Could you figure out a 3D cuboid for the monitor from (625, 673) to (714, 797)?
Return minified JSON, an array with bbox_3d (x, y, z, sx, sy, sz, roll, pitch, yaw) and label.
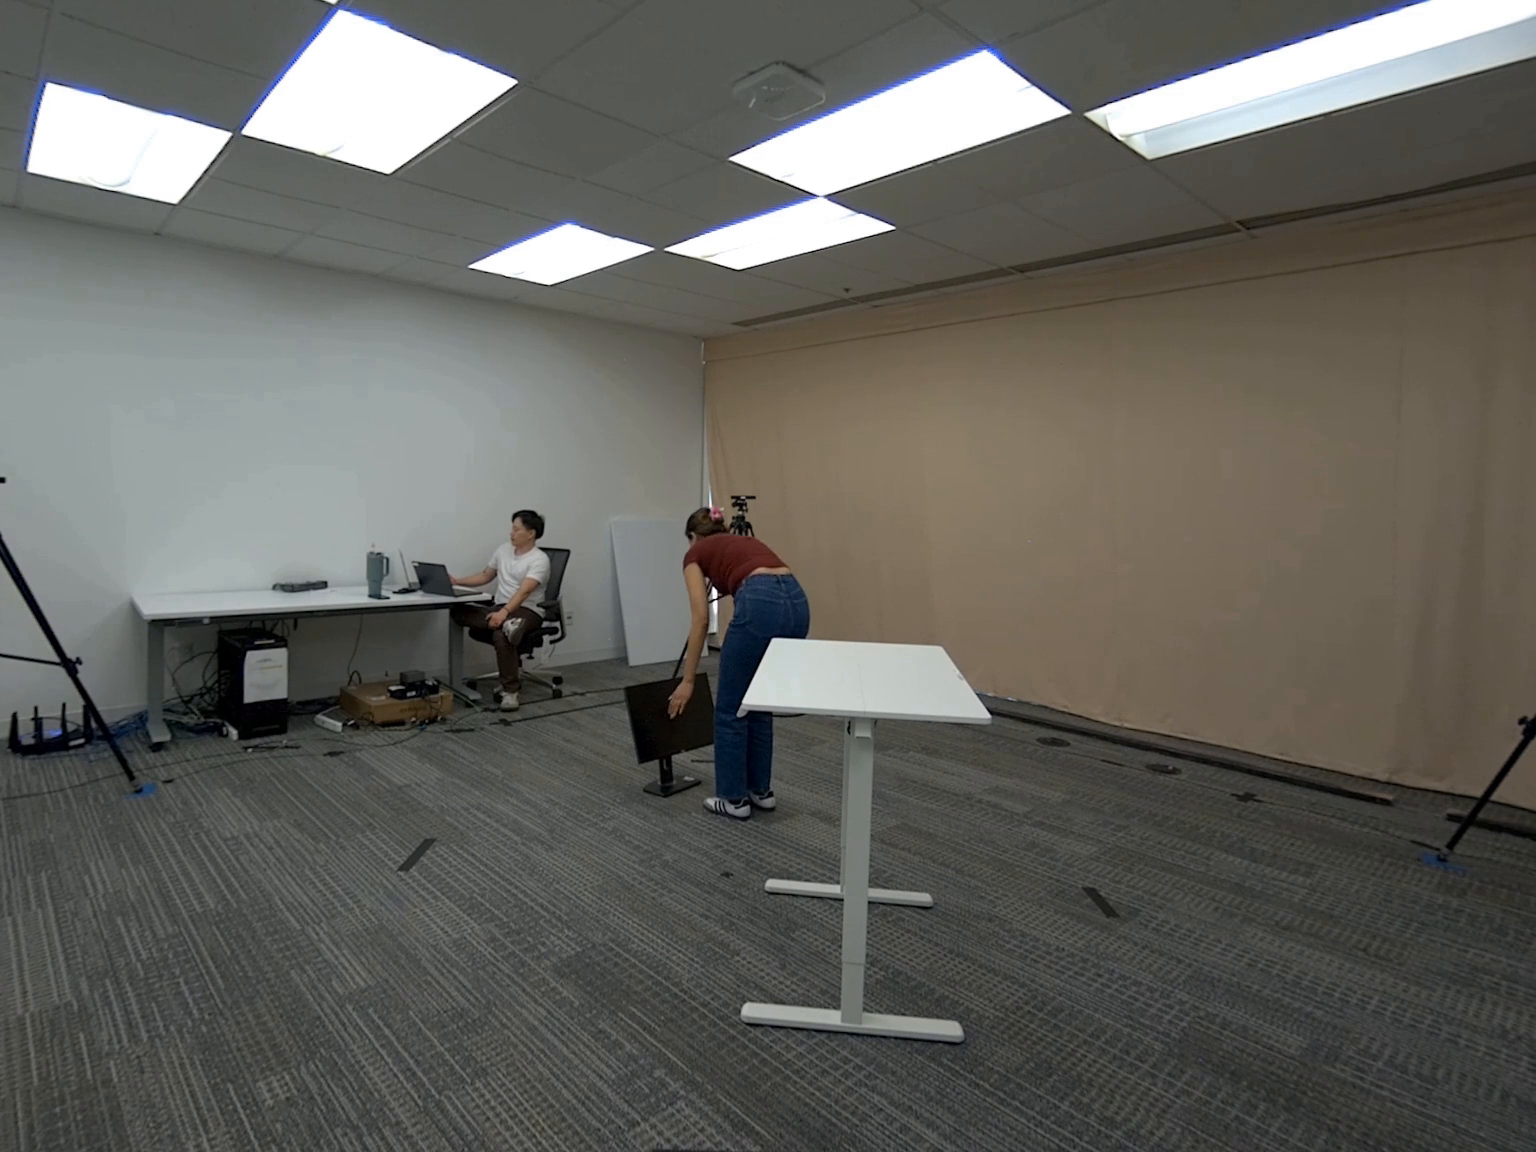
[{"bbox_3d":[-0.469,0.753,4.032,0.191,0.522,0.527,0,3,40],"label":"monitor"}]
